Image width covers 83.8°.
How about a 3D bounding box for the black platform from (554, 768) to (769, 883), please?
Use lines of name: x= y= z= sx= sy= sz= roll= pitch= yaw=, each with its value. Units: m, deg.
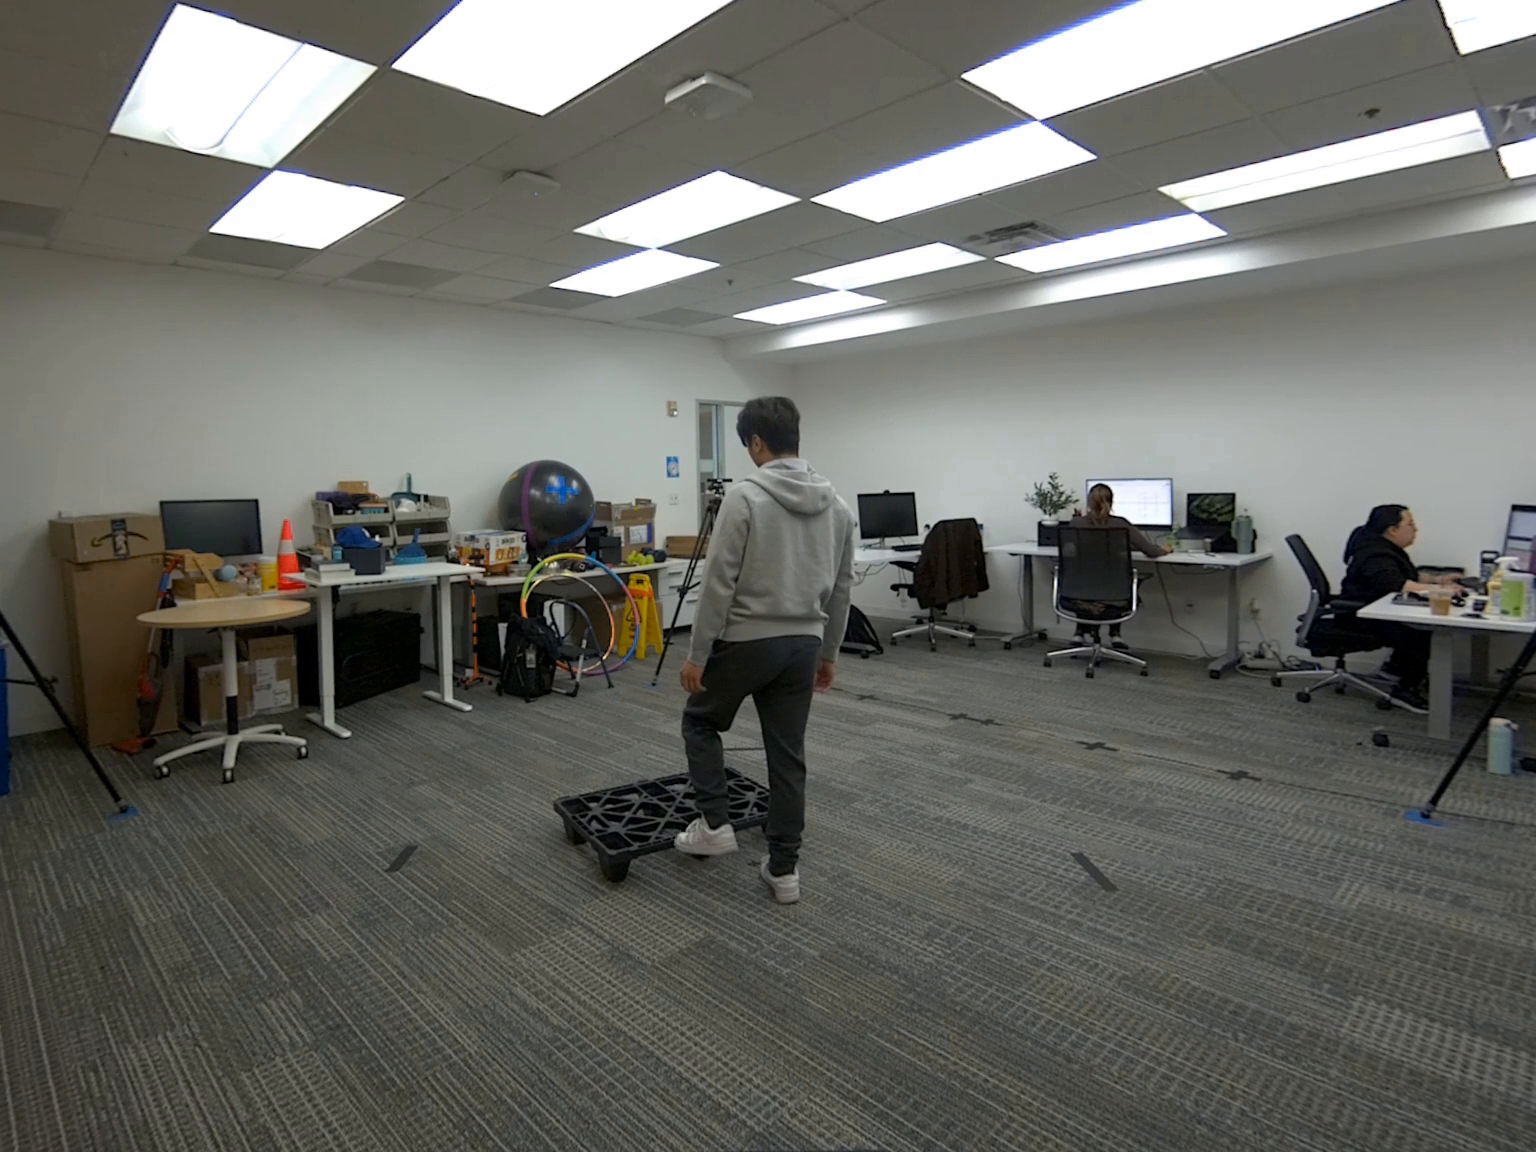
black platform: x=-0.356 y=0.957 z=3.351 sx=0.786 sy=0.142 sz=0.623 roll=-5 pitch=8 yaw=-31
